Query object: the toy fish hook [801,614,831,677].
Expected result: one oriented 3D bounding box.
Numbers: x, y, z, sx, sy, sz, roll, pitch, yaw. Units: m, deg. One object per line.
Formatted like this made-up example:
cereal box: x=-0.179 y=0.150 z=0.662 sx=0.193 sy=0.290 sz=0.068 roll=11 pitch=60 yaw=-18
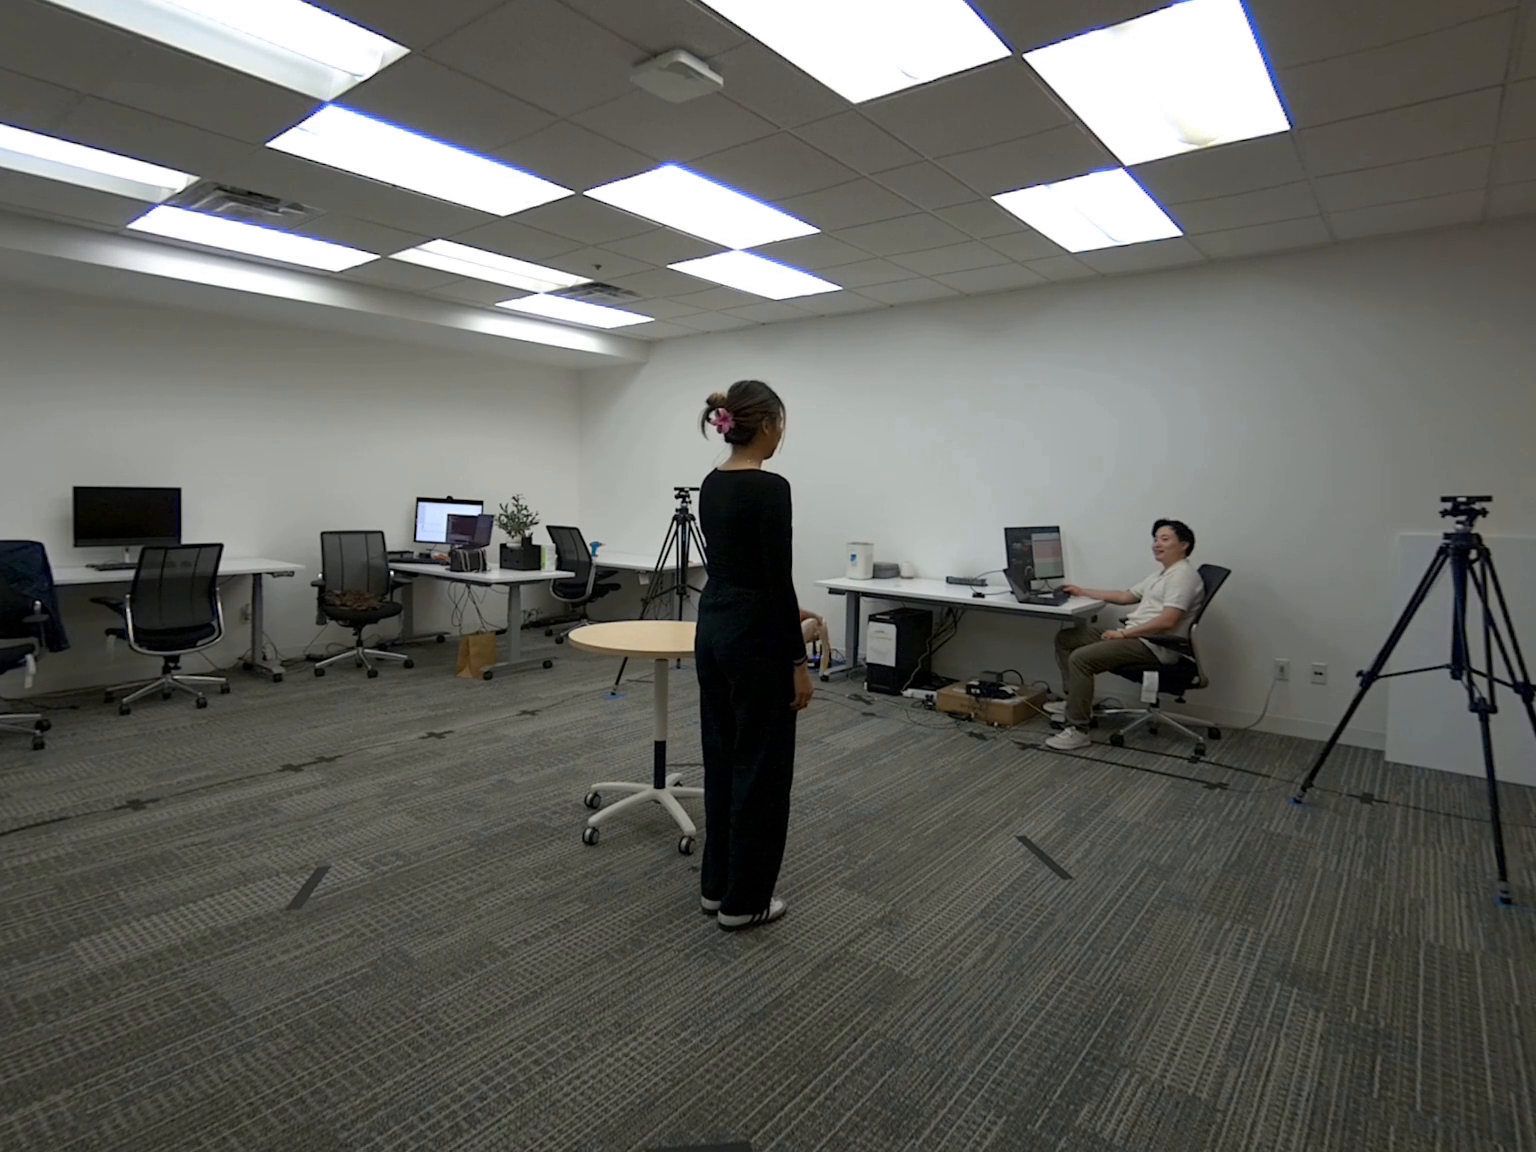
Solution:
toy fish hook: x=0.129 y=0.398 z=2.930 sx=0.216 sy=0.507 sz=0.050 roll=13 pitch=-4 yaw=-44
